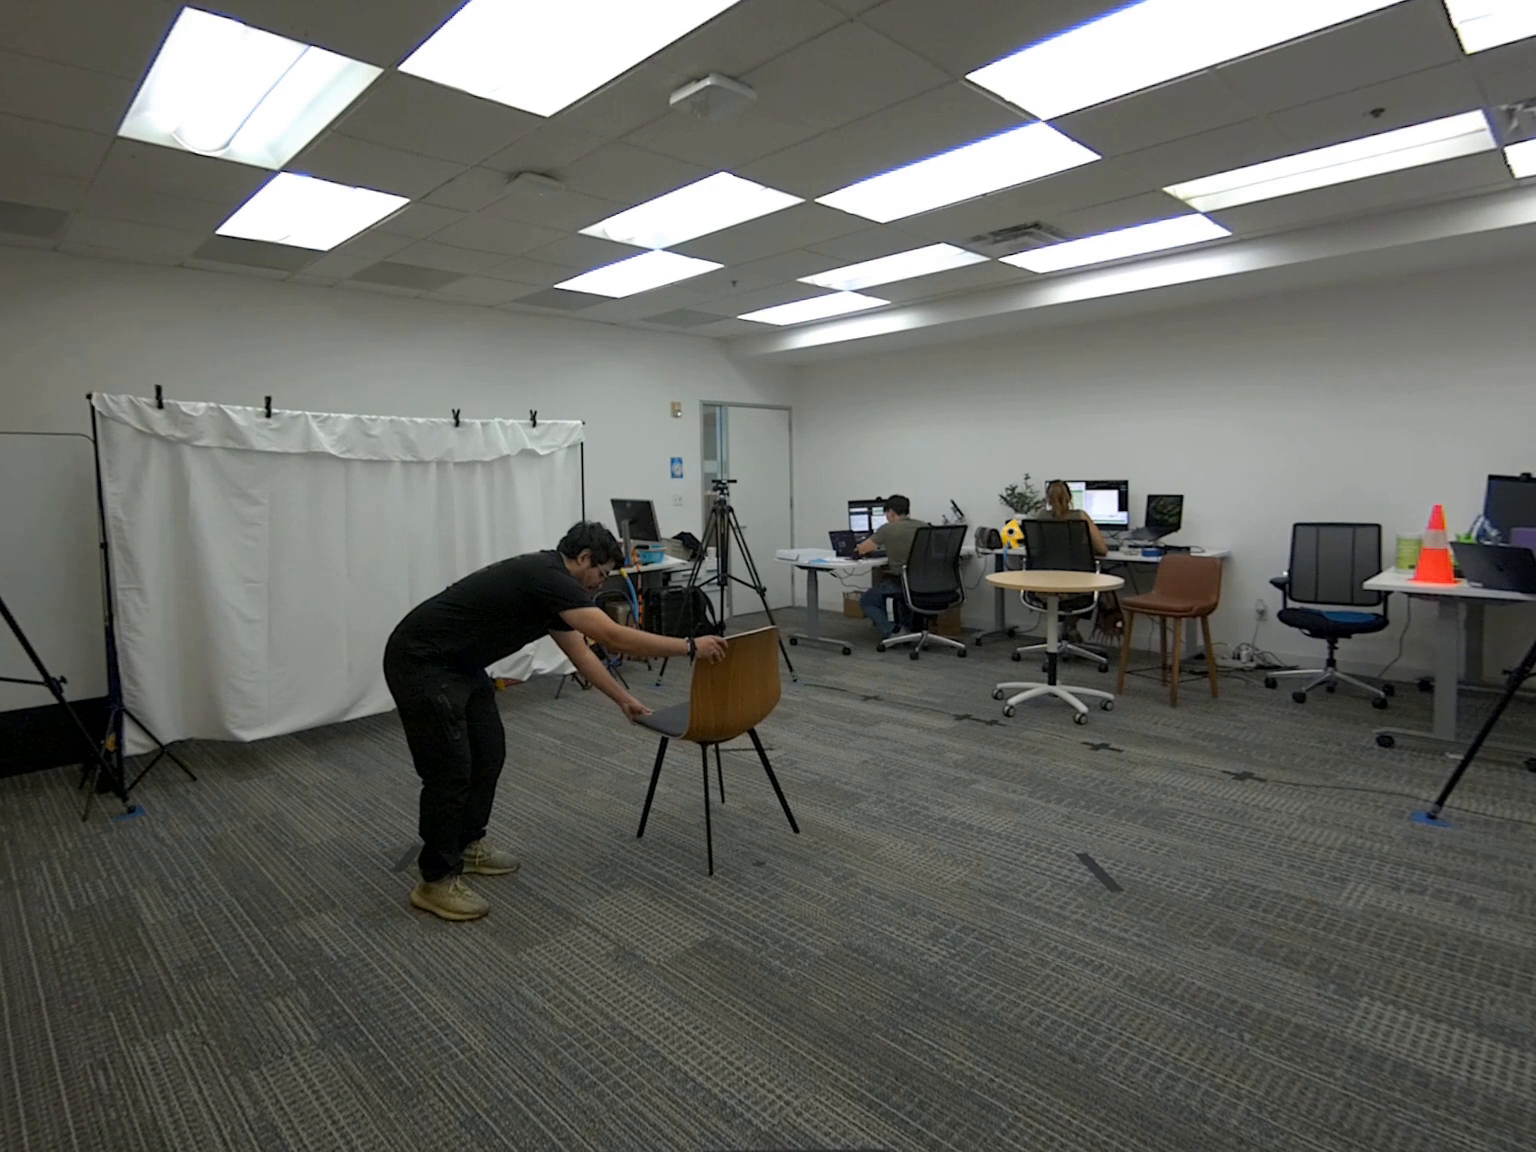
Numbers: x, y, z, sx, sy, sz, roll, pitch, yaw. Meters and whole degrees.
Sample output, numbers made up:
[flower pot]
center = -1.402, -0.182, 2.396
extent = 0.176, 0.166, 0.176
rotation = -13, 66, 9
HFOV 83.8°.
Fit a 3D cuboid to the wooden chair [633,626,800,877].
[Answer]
[wooden chair]
center = -0.230, 0.589, 3.294
extent = 0.466, 0.870, 0.541
rotation = -9, 13, -41
